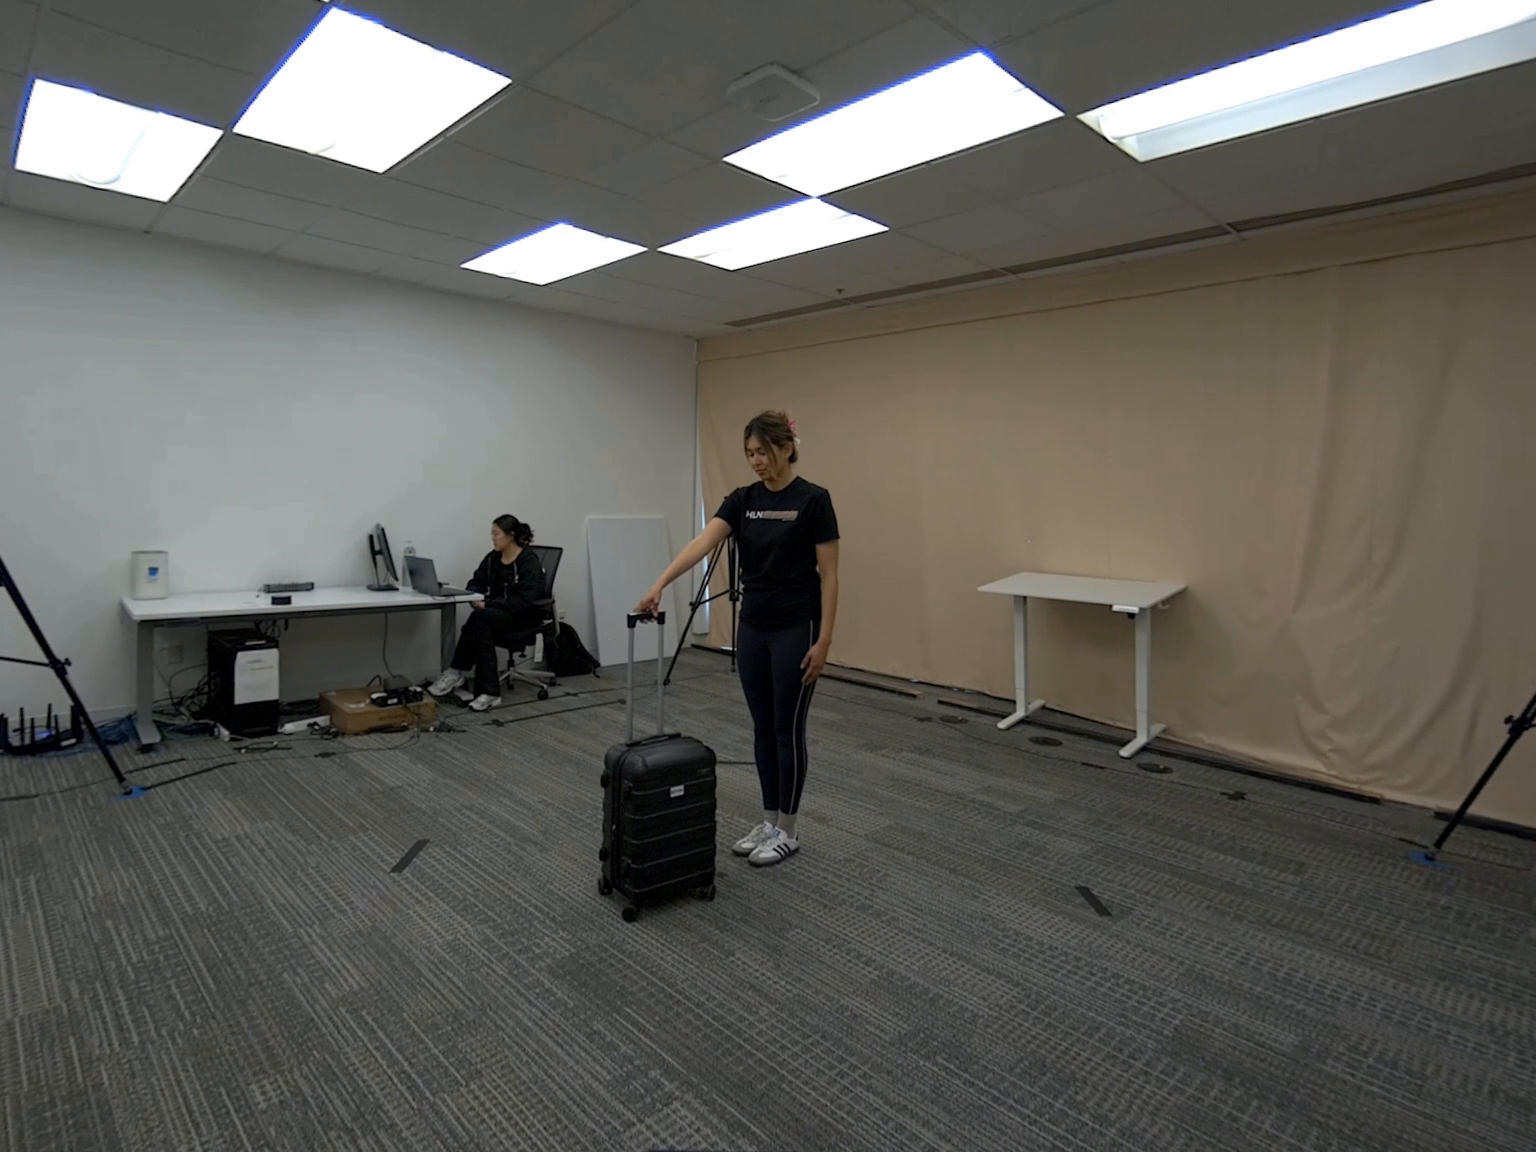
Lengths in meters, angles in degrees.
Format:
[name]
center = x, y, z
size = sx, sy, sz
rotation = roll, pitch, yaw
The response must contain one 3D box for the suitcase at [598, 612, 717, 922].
[suitcase]
center = -0.375, 0.645, 2.901
size = 0.375, 0.976, 0.263
rotation = -1, 5, -36
